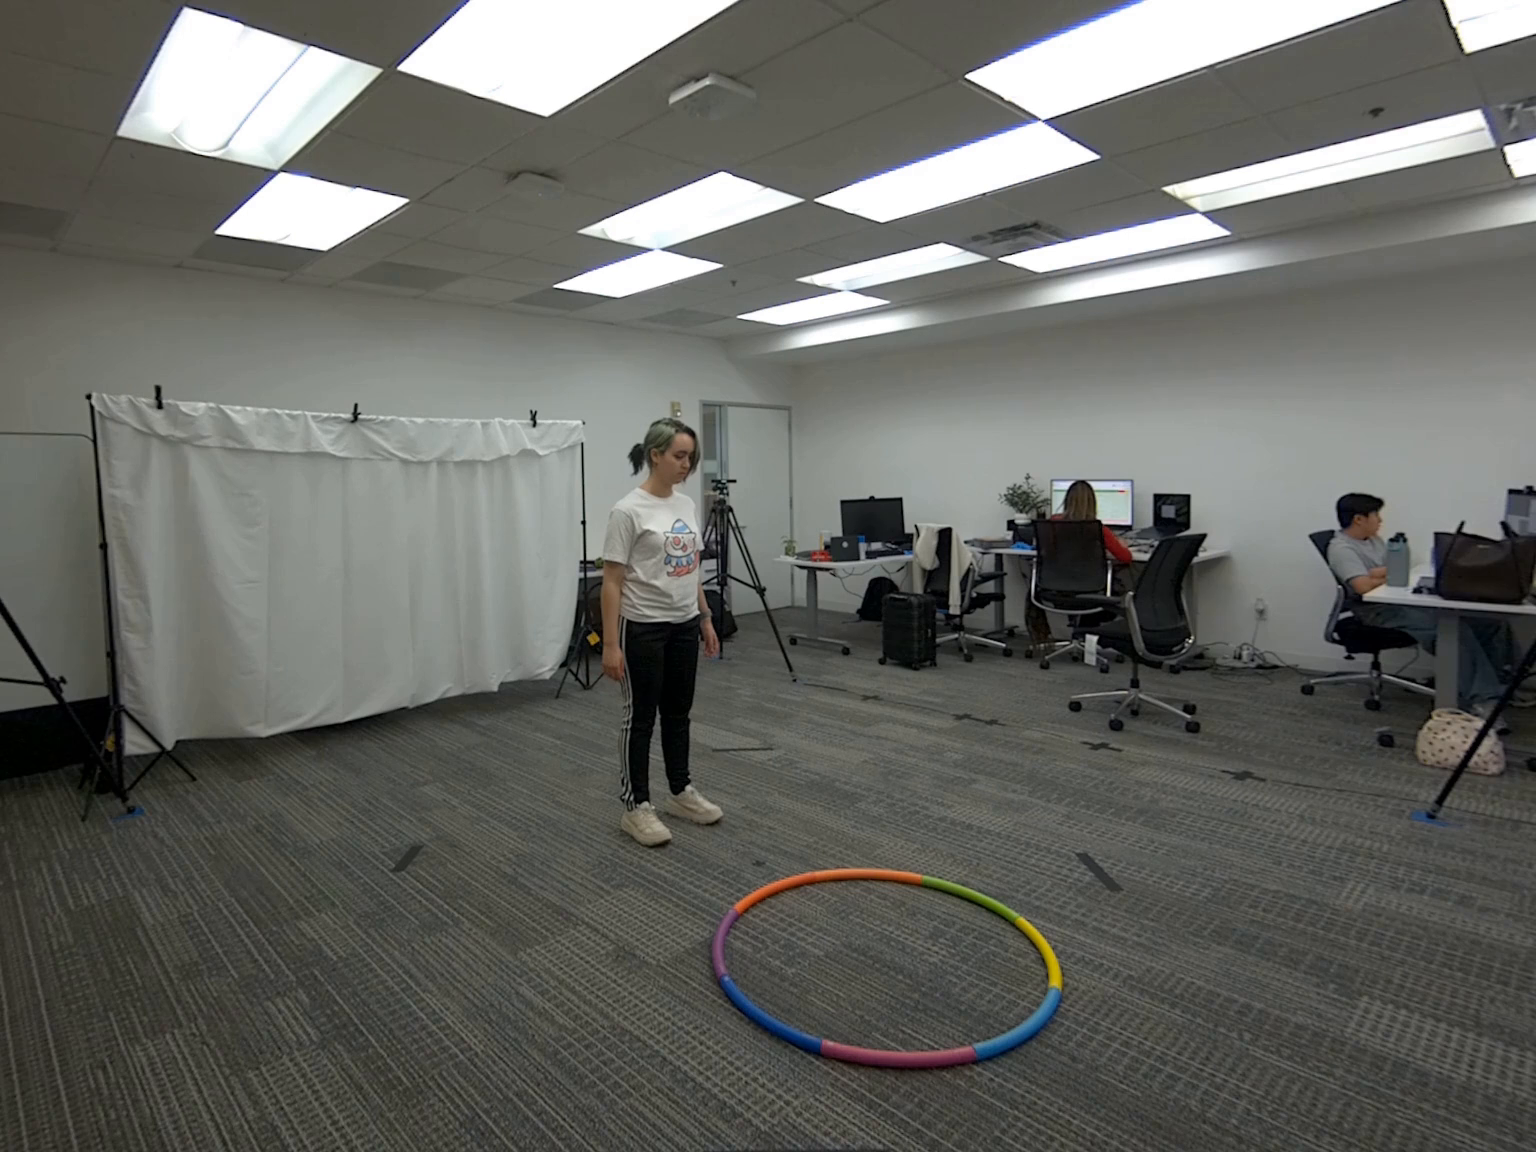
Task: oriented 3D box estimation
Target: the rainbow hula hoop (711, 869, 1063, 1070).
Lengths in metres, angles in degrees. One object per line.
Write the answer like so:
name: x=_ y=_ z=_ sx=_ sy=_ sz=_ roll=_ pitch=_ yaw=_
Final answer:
rainbow hula hoop: x=0.328 y=1.079 z=2.505 sx=0.978 sy=0.035 sz=0.984 roll=-2 pitch=6 yaw=-2
